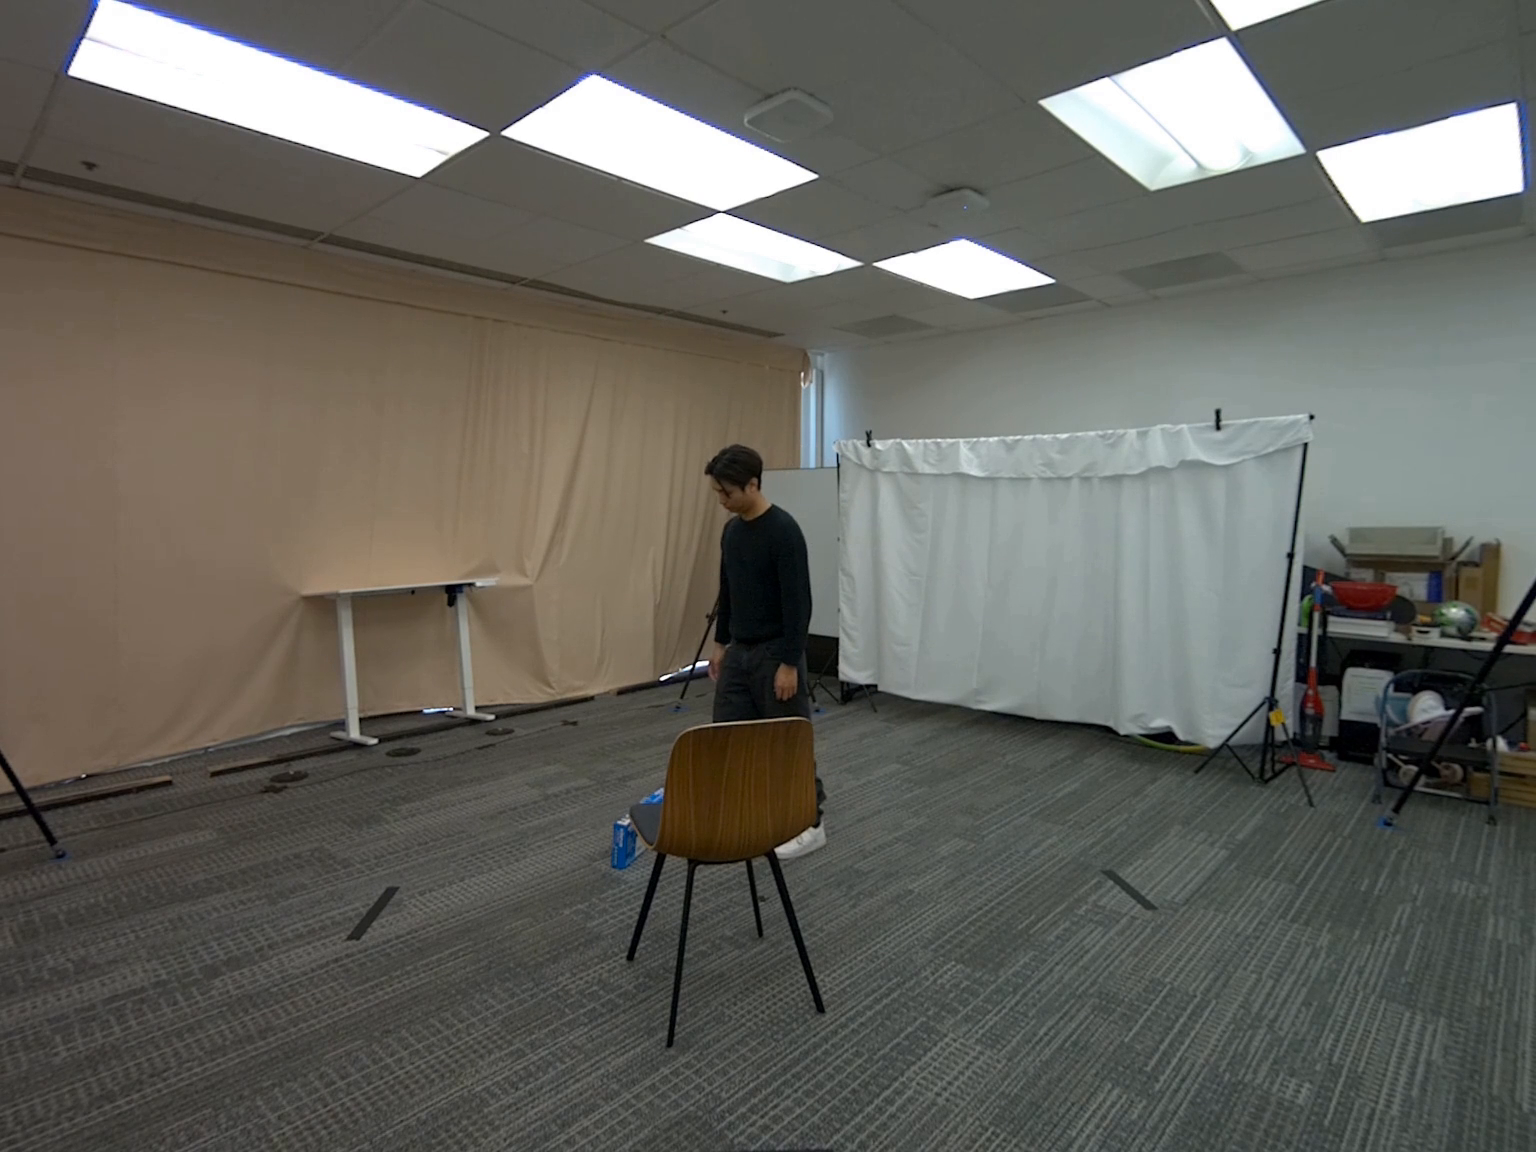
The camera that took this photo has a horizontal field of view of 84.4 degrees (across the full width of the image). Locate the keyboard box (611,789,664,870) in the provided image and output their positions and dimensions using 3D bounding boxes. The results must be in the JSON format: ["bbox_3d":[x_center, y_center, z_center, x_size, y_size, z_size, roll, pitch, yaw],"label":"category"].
[{"bbox_3d":[-0.509,1.022,3.440,0.060,0.175,0.429,6,6,17],"label":"keyboard box"}]
